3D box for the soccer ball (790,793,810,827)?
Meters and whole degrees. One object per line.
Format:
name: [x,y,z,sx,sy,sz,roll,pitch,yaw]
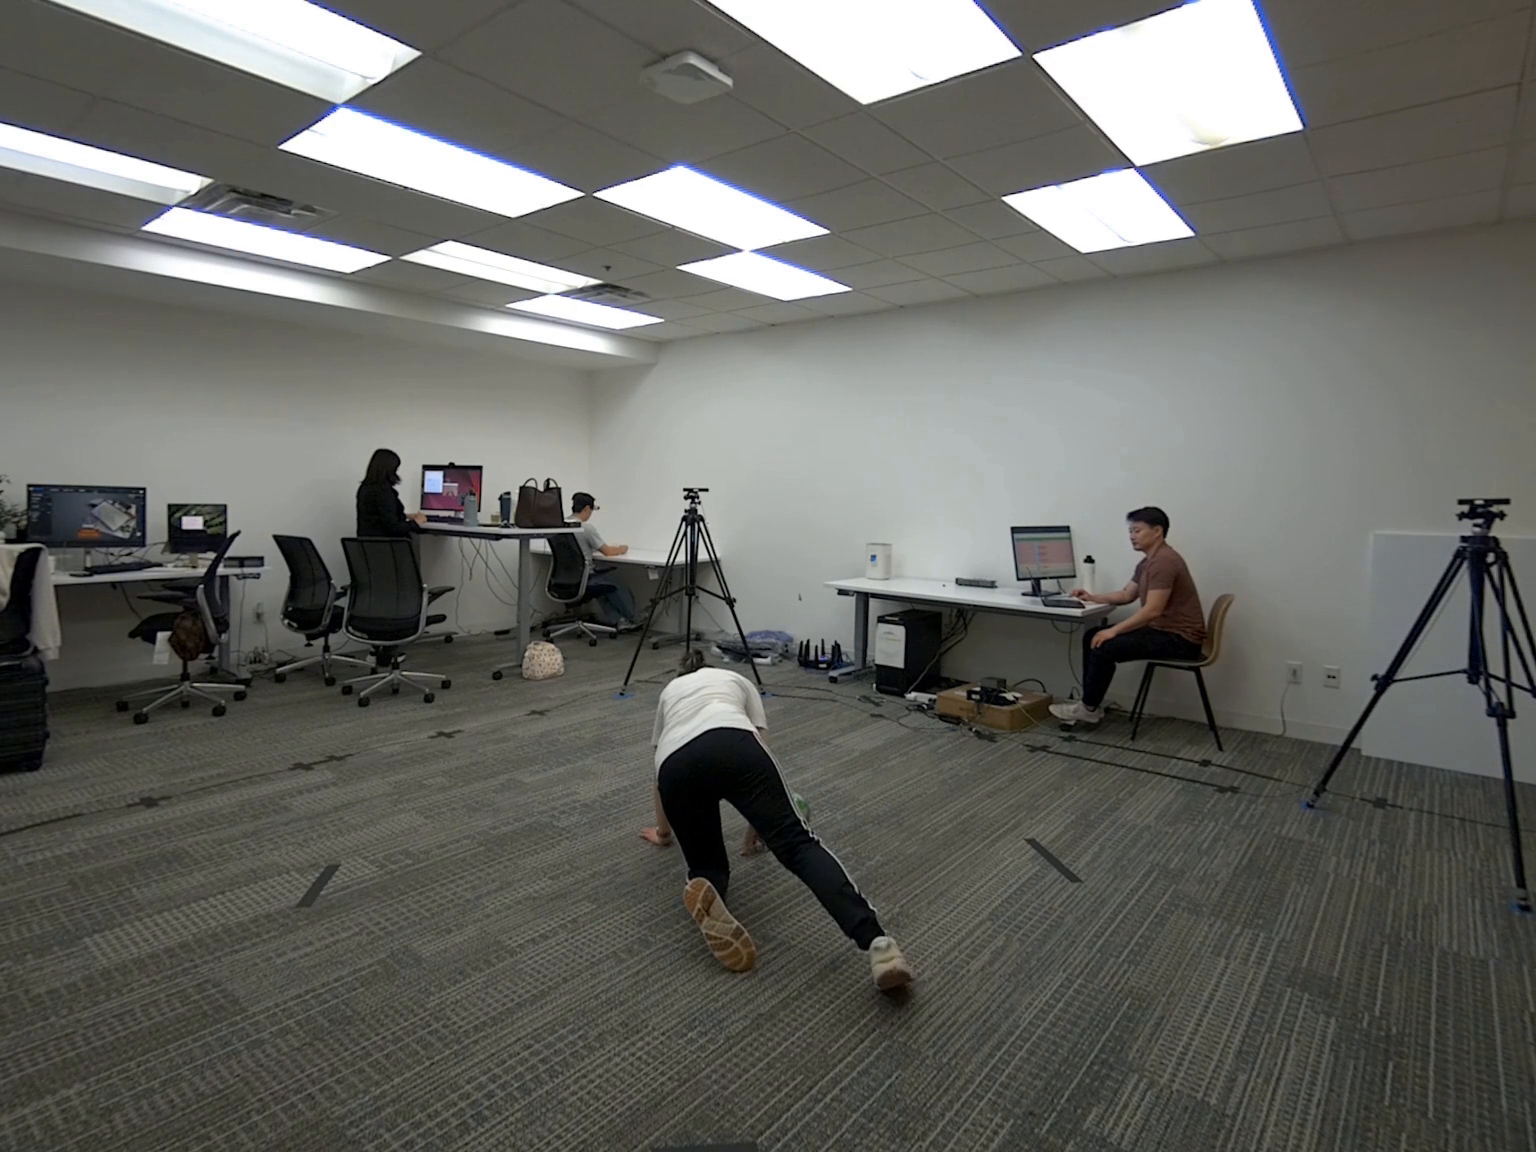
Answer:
soccer ball: [0.081,0.950,3.409,0.187,0.187,0.188,1,4,-2]
